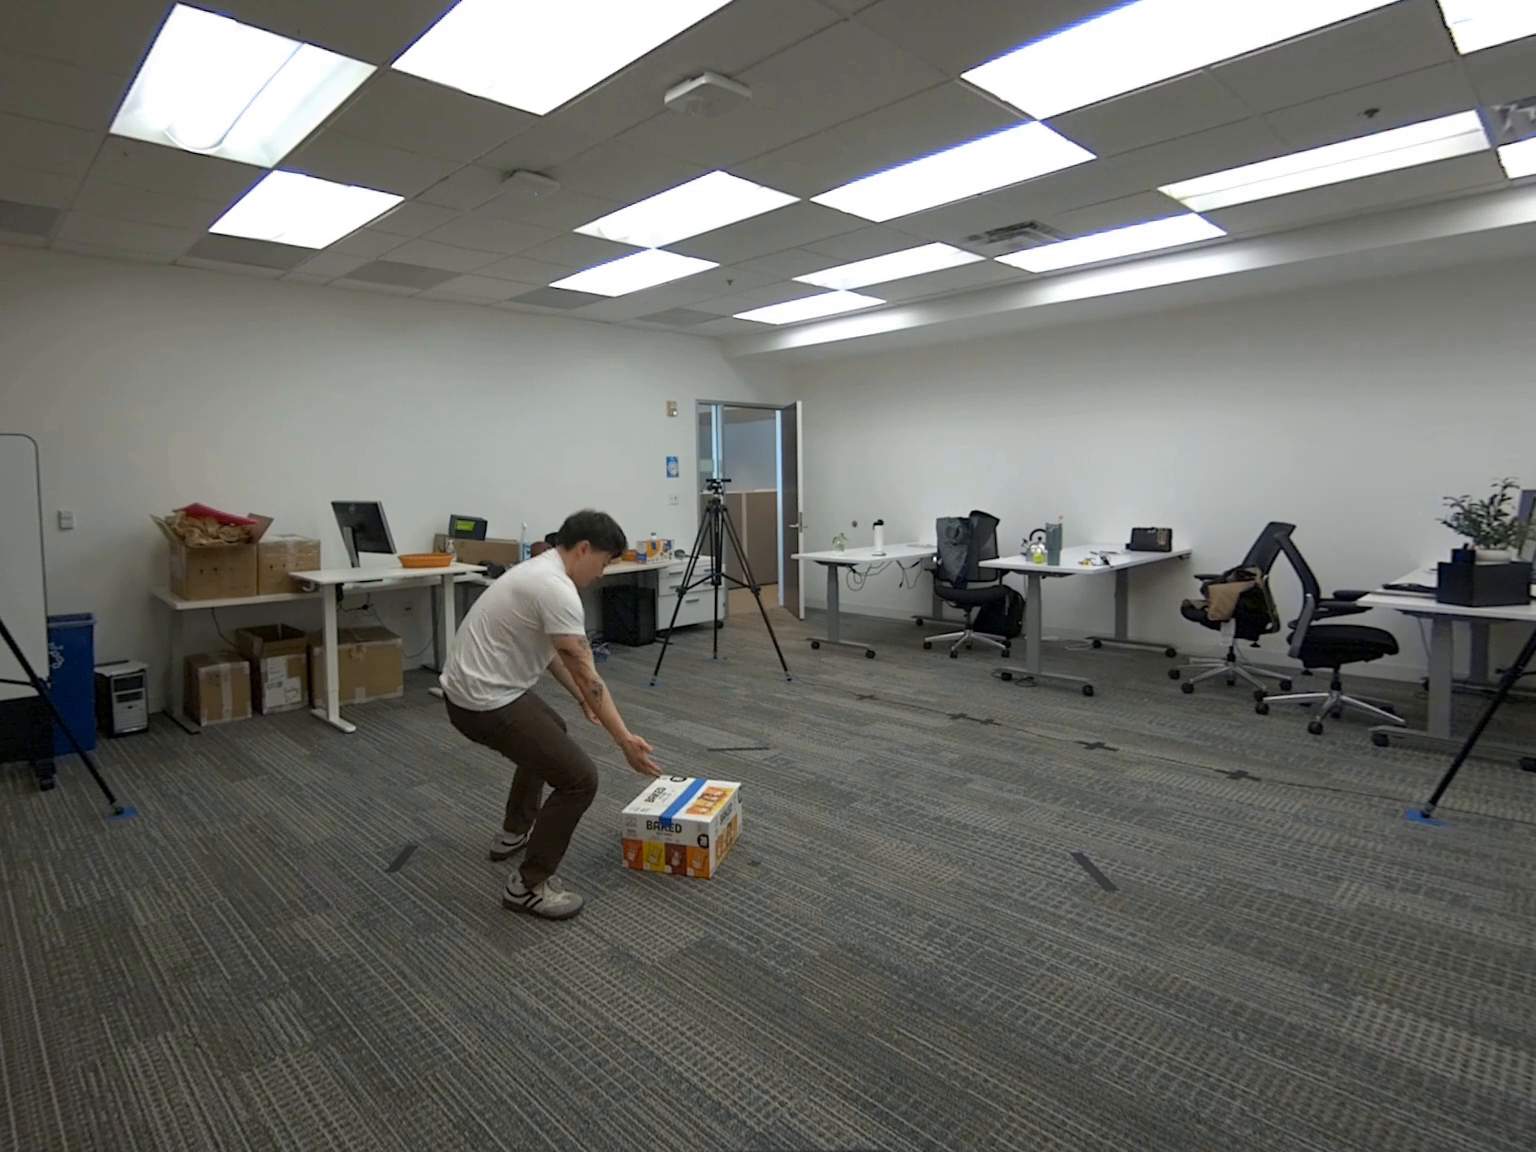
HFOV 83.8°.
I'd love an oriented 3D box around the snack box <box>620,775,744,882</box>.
[{"bbox_3d":[-0.315,0.932,3.222,0.346,0.205,0.400,1,6,16],"label":"snack box"}]
